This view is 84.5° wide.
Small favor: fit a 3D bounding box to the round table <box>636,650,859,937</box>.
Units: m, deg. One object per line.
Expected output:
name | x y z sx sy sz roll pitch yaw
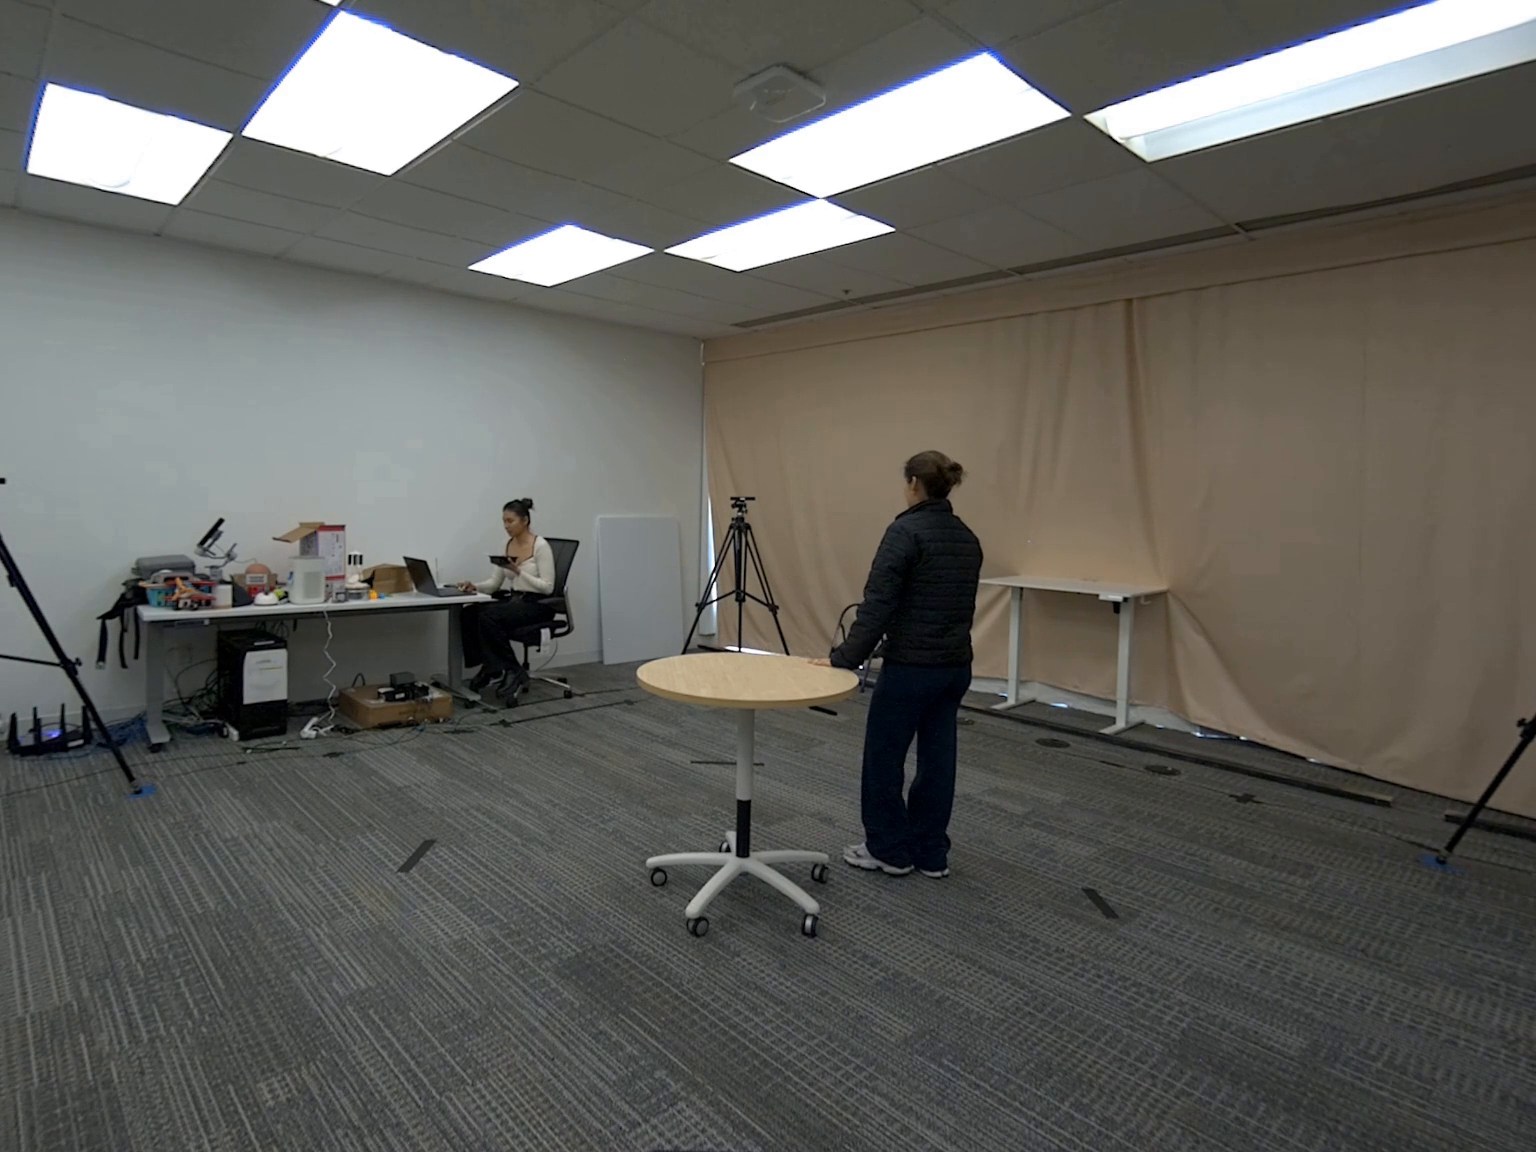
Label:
round table | -0.086 0.728 2.935 0.784 0.784 0.788 1 5 -1
